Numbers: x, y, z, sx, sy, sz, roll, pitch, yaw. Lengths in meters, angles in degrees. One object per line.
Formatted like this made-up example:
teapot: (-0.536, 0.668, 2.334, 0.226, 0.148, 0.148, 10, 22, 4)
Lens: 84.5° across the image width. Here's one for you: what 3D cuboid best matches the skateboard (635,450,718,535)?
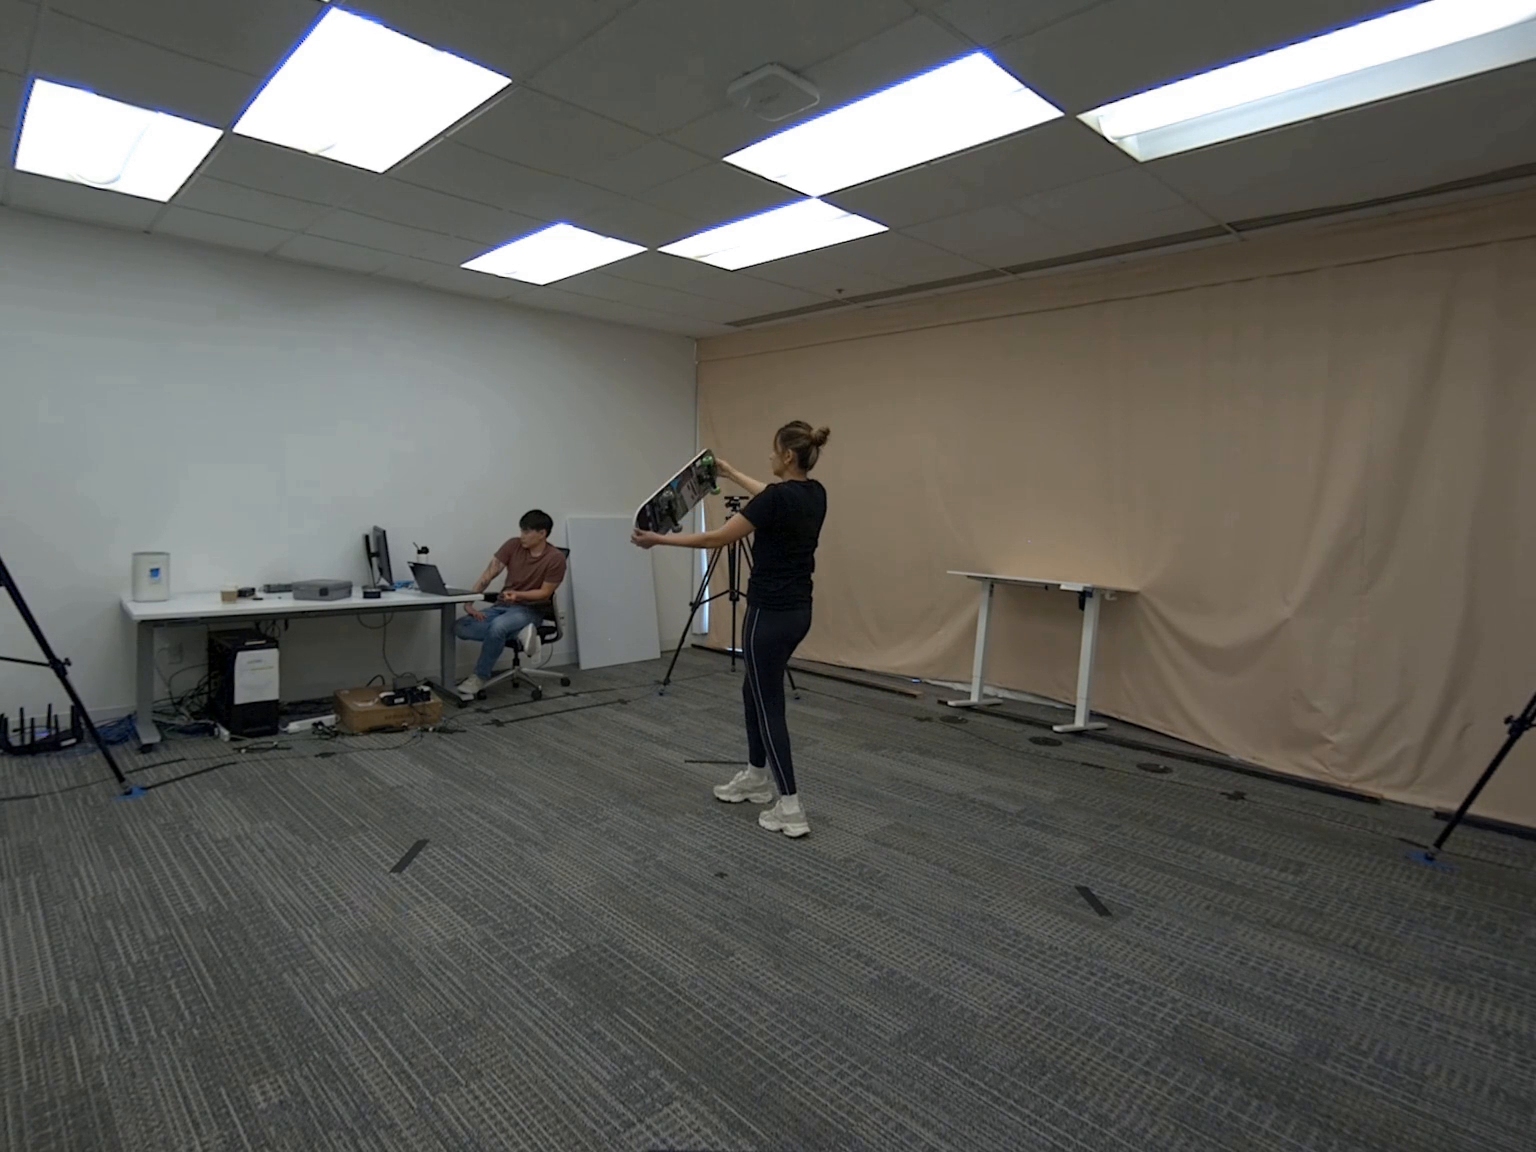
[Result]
skateboard: (-0.373, -0.372, 3.806, 0.112, 0.189, 0.787, 2, 31, 25)
